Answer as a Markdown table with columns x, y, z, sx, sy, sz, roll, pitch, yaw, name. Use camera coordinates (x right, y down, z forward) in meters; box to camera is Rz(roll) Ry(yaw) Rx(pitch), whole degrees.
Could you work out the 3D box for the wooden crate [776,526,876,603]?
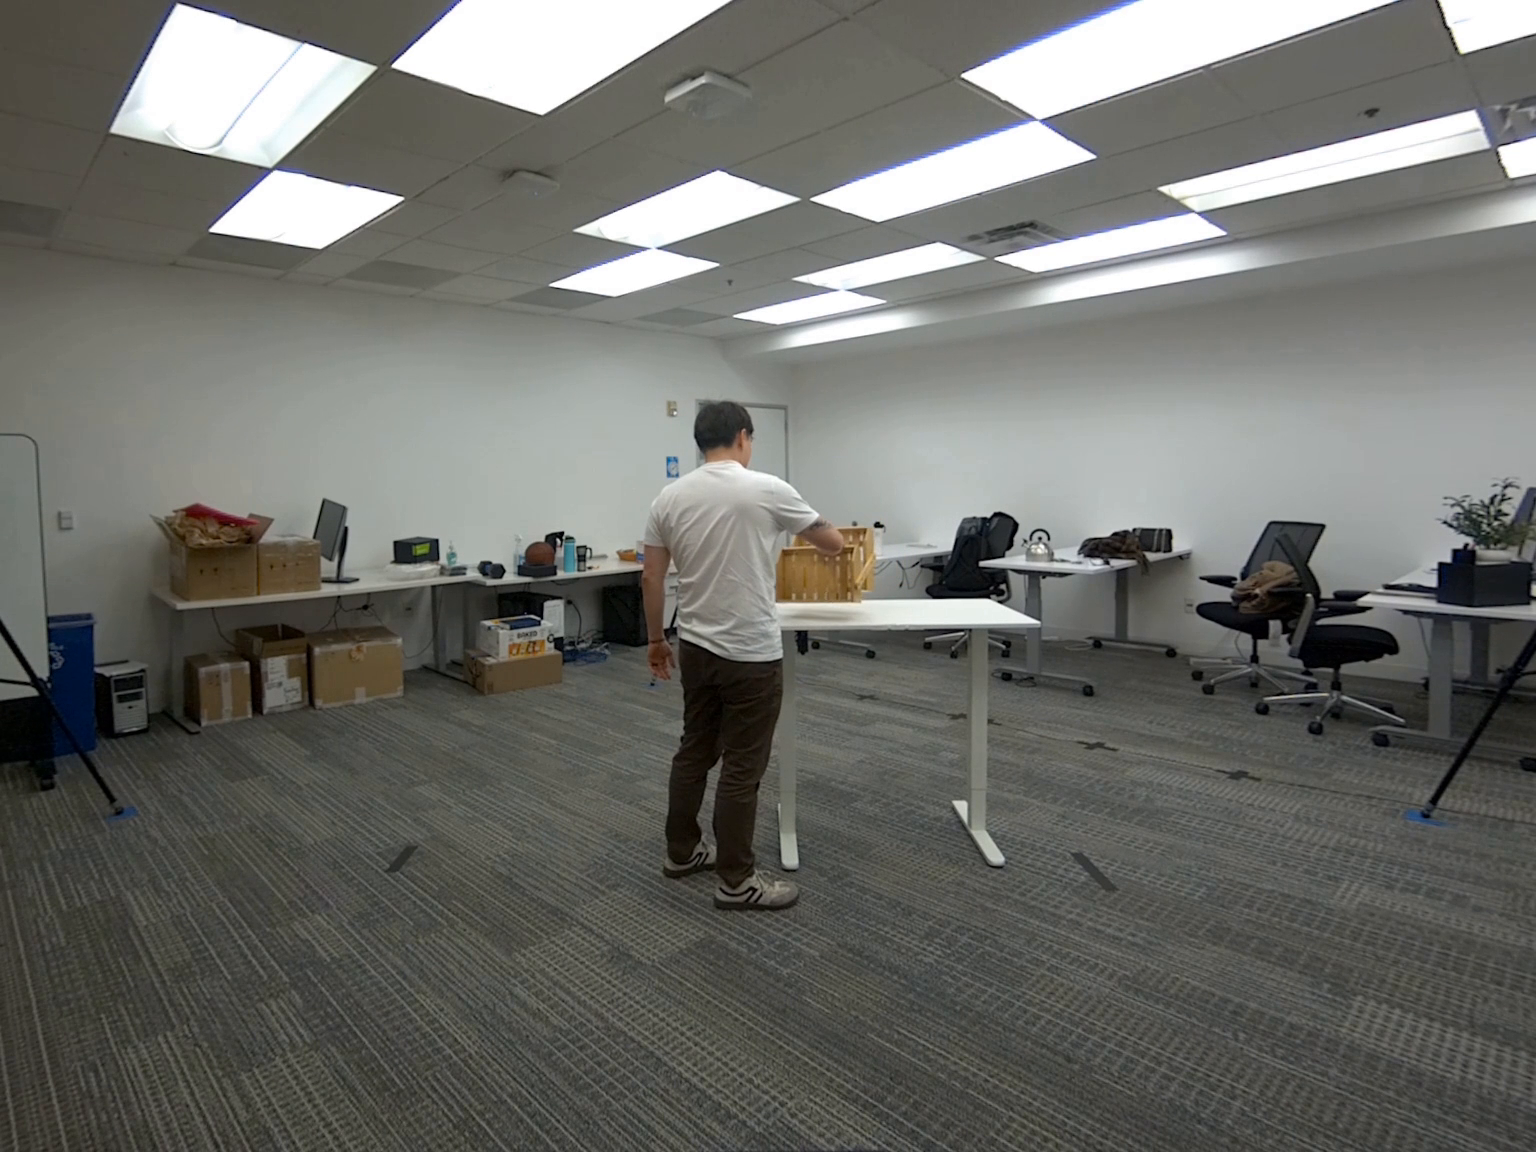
| x | y | z | sx | sy | sz | roll | pitch | yaw | name |
| --- | --- | --- | --- | --- | --- | --- | --- | --- | --- |
| 0.219 | -0.047 | 3.214 | 0.331 | 0.304 | 0.266 | -2 | -7 | 24 | wooden crate |
